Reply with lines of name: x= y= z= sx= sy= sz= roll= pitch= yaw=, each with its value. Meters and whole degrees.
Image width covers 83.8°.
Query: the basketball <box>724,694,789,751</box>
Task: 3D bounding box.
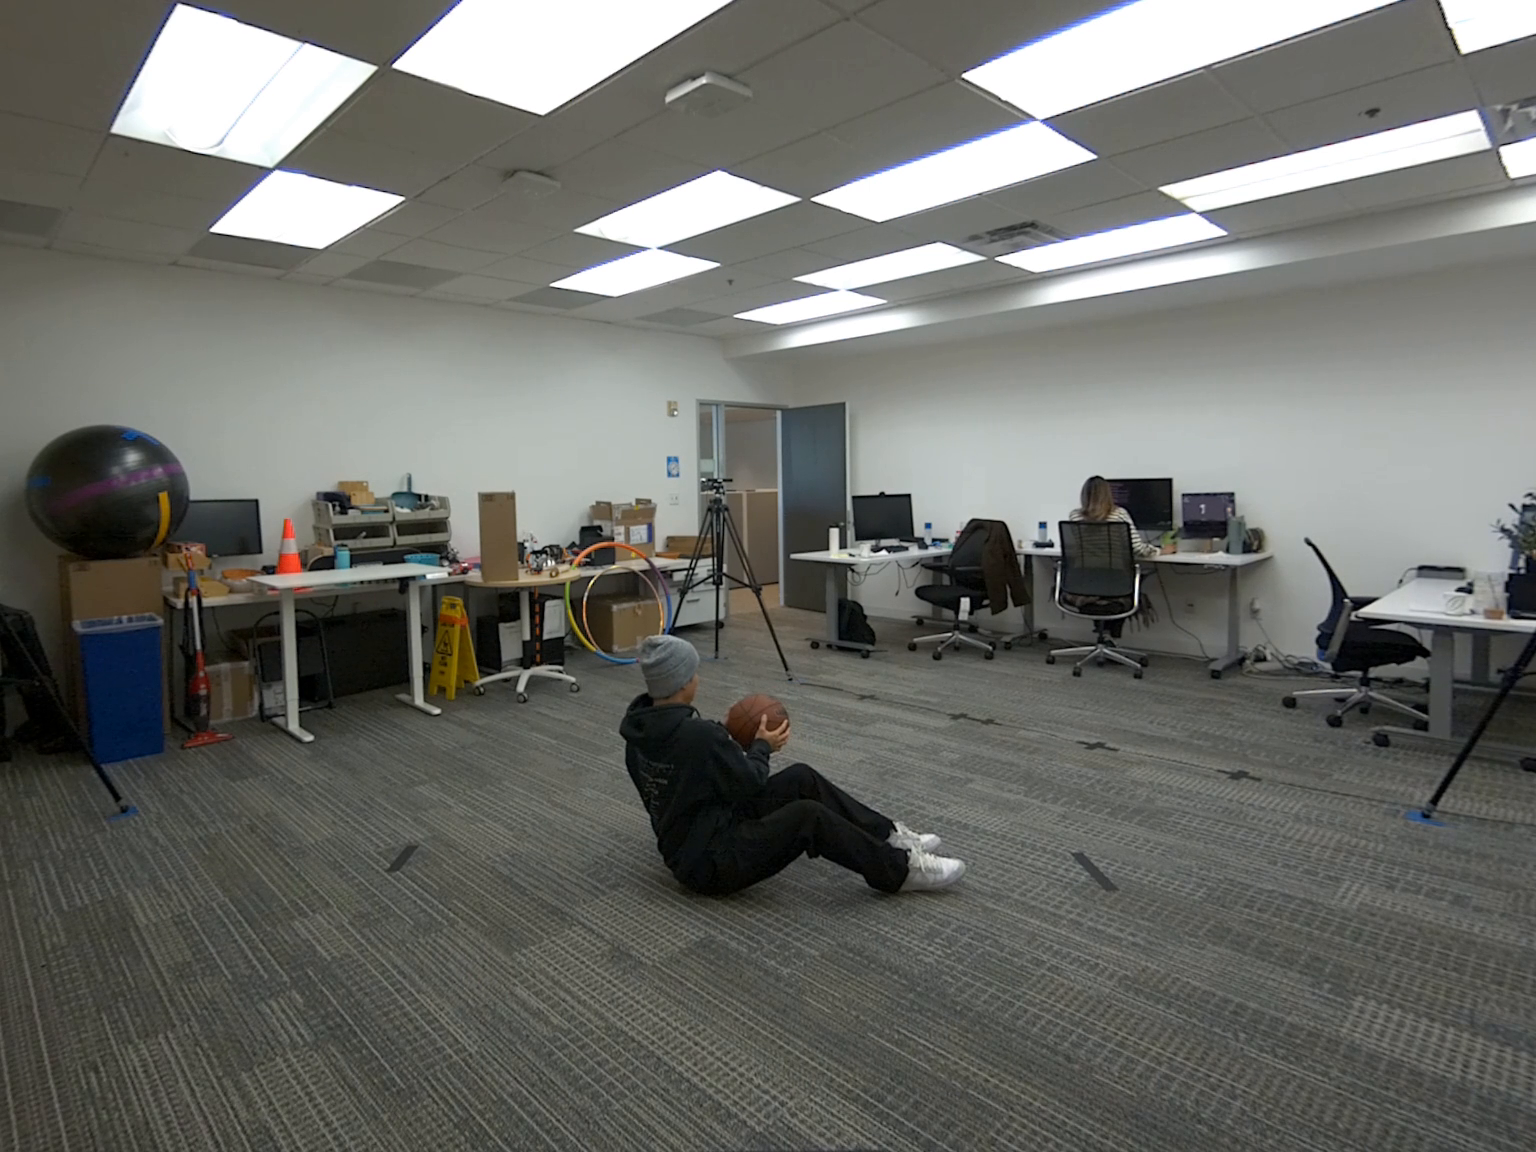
basketball: x=-0.032 y=0.578 z=3.336 sx=0.236 sy=0.235 sz=0.237 roll=-1 pitch=5 yaw=-2
